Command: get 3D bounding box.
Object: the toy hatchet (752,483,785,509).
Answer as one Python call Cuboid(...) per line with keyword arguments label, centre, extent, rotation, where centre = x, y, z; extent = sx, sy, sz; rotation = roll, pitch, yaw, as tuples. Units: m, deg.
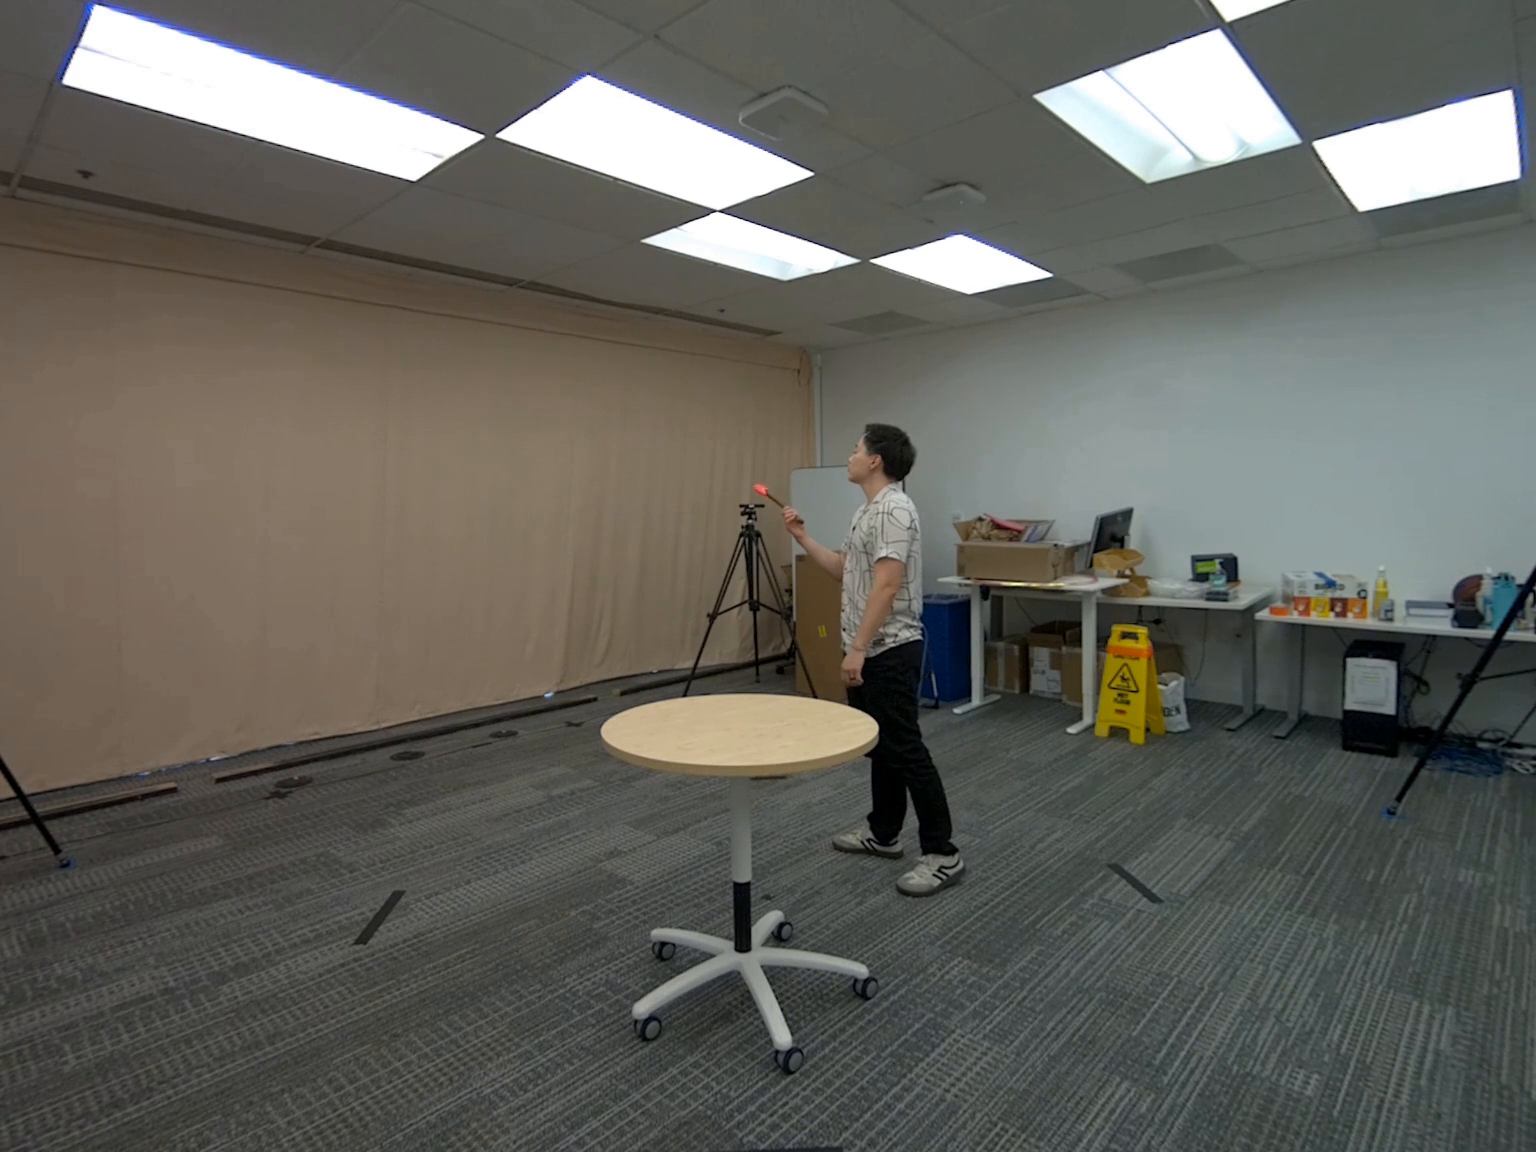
Cuboid(label="toy hatchet", centre=(0.039, -0.301, 3.400), extent=(0.126, 0.029, 0.280), rotation=(18, 20, -47))
